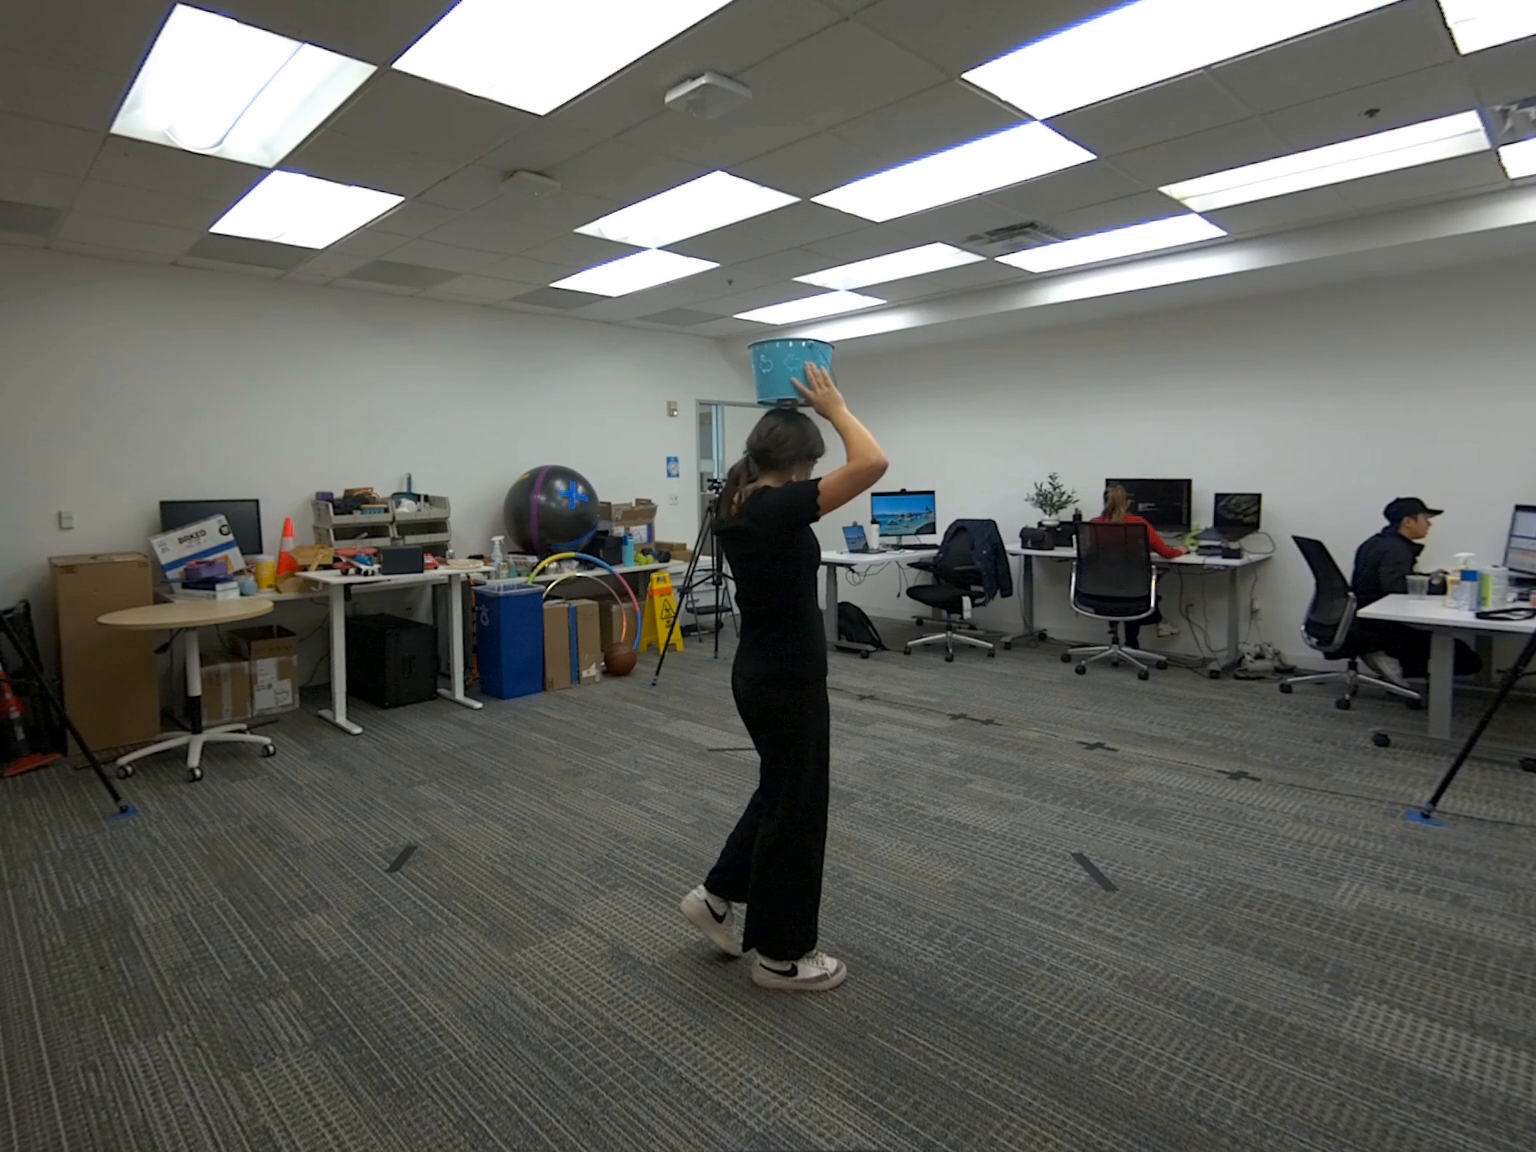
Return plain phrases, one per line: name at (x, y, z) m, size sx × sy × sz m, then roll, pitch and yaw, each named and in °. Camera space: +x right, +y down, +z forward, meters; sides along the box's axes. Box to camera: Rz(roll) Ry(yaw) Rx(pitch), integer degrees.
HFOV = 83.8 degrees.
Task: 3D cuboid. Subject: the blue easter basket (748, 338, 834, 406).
blue easter basket at (0.075, -0.544, 2.288) m, size 0.243 × 0.155 × 0.244 m, roll -2°, pitch 4°, yaw -2°
